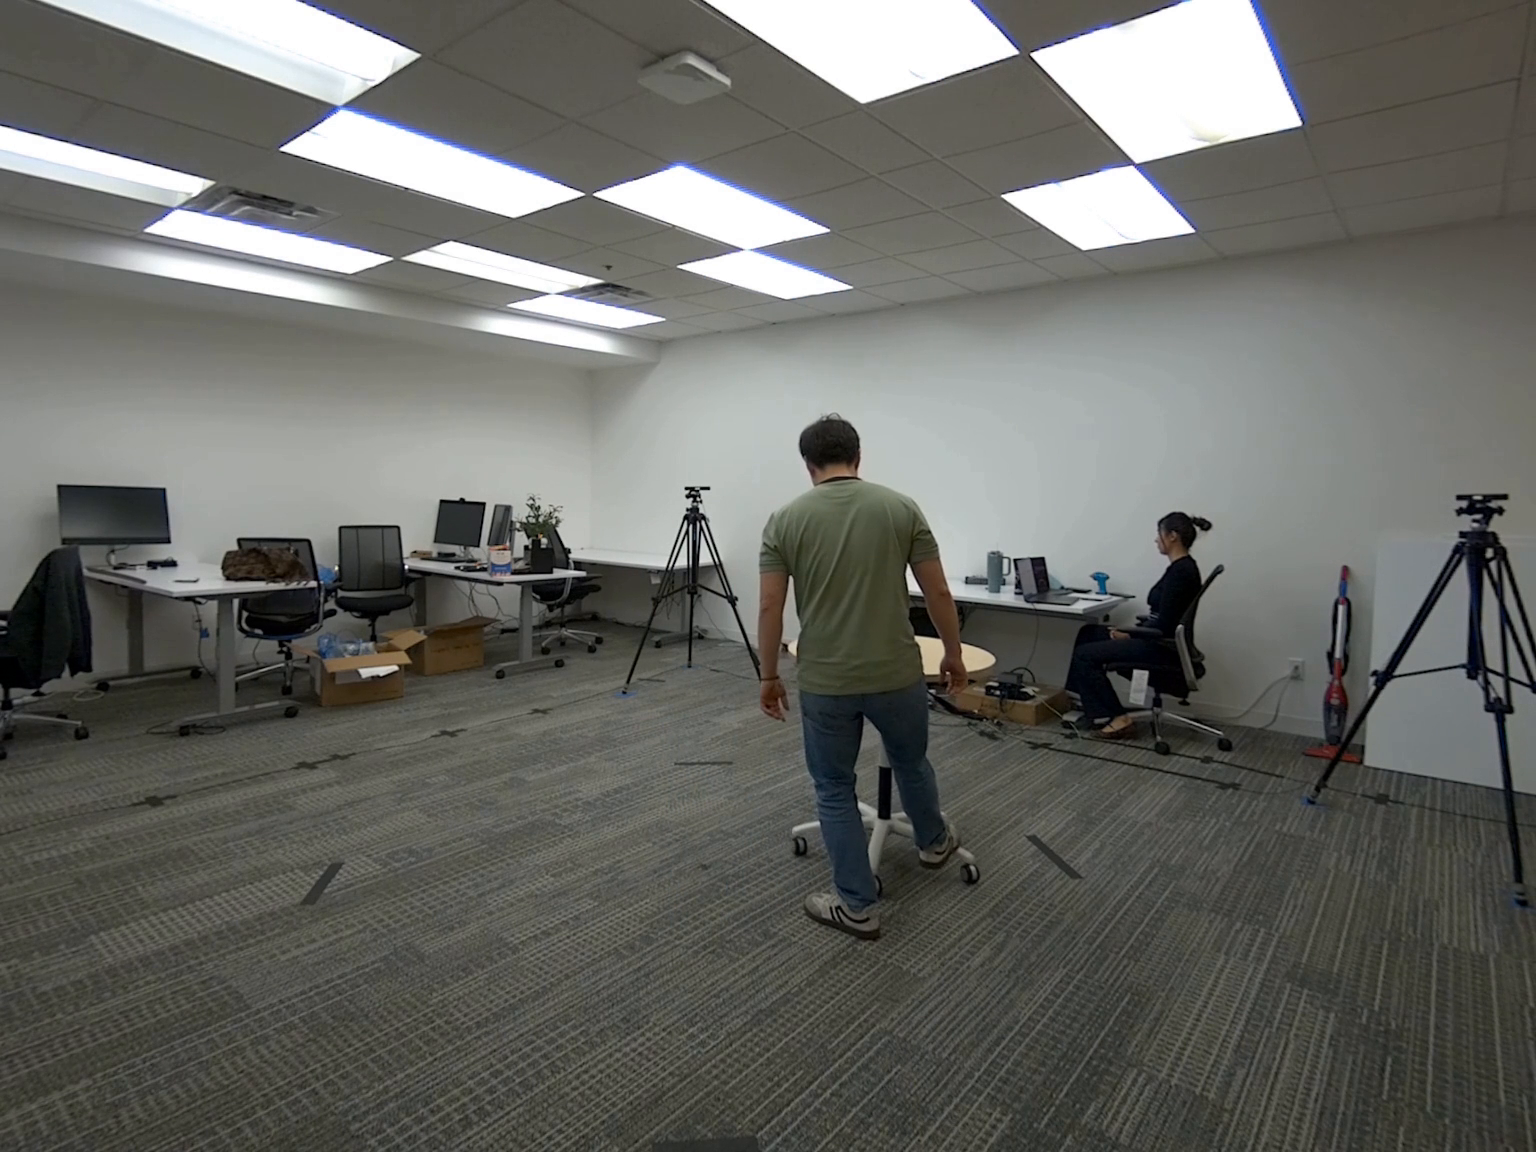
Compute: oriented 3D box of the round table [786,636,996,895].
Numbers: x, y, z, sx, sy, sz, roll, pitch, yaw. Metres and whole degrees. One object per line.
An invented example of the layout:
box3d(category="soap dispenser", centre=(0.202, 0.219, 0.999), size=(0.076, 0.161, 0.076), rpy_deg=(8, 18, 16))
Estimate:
box3d(category="round table", centre=(0.434, 0.672, 3.244), size=(0.763, 0.791, 0.768), rpy_deg=(1, 5, -2))
